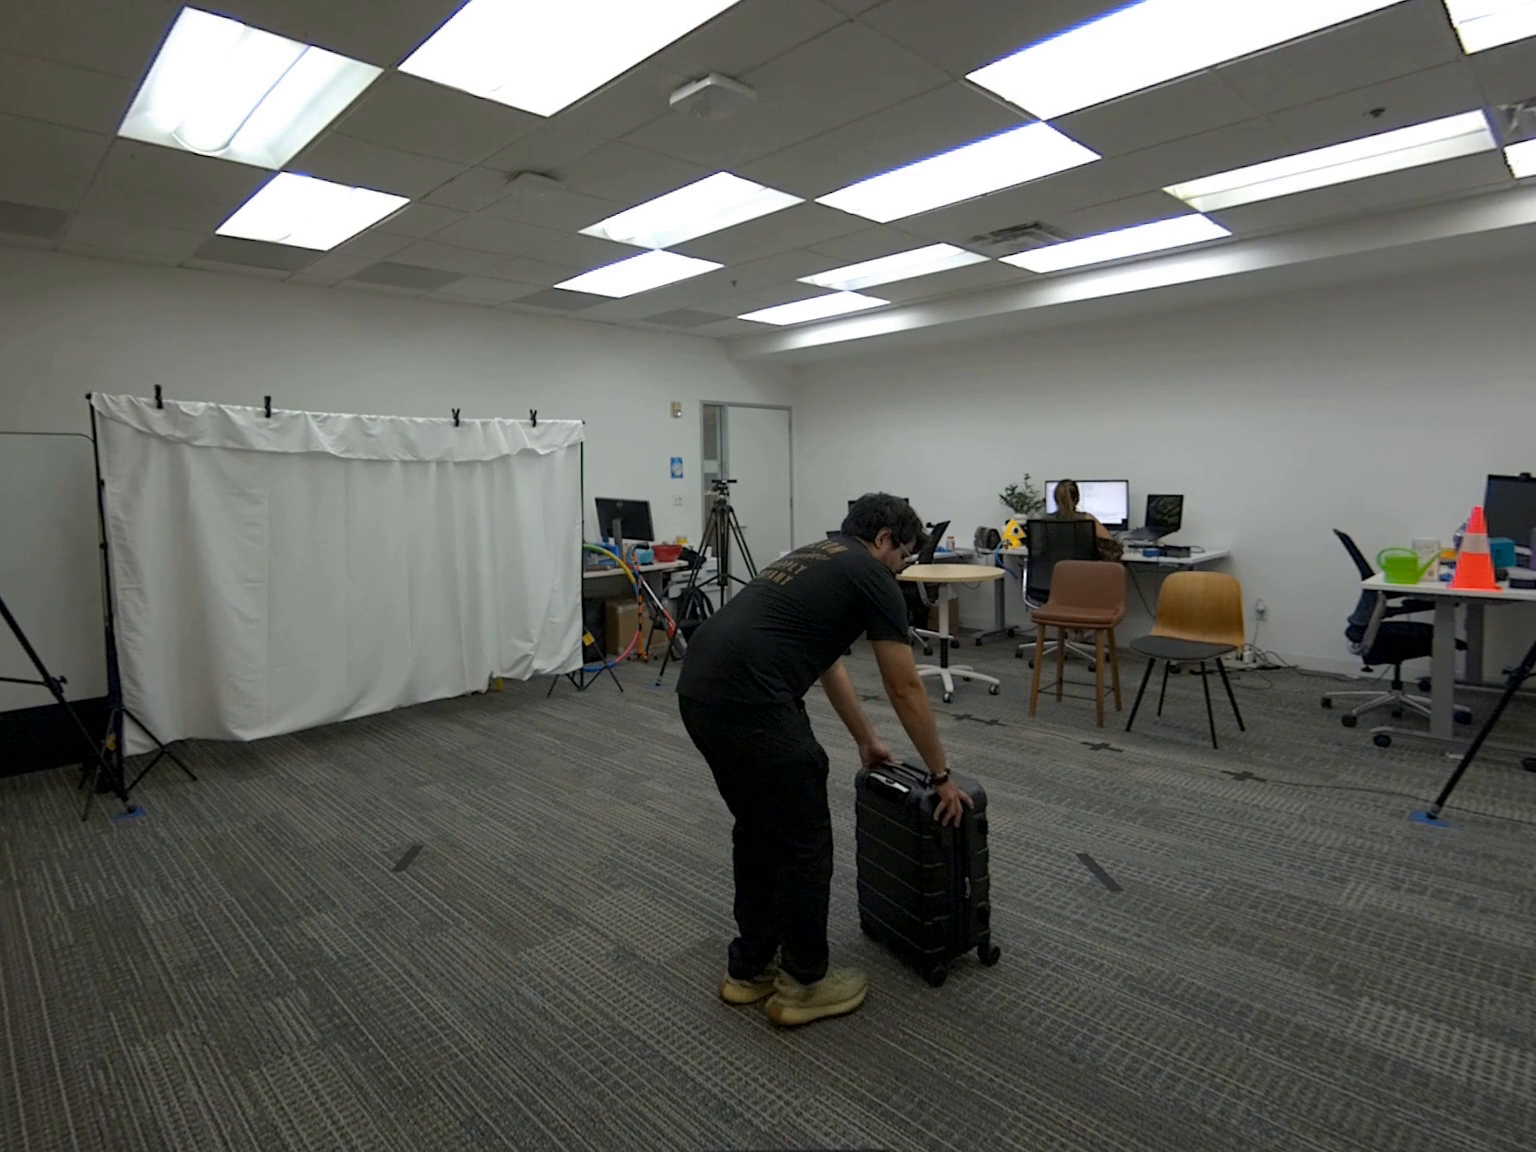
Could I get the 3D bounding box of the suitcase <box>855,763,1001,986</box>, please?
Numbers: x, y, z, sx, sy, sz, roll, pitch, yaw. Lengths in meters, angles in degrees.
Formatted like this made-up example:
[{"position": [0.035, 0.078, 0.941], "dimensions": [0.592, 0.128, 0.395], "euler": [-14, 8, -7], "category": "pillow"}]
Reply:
[{"position": [0.455, 0.833, 2.511], "dimensions": [0.243, 0.546, 0.386], "euler": [-6, 6, -29], "category": "suitcase"}]
